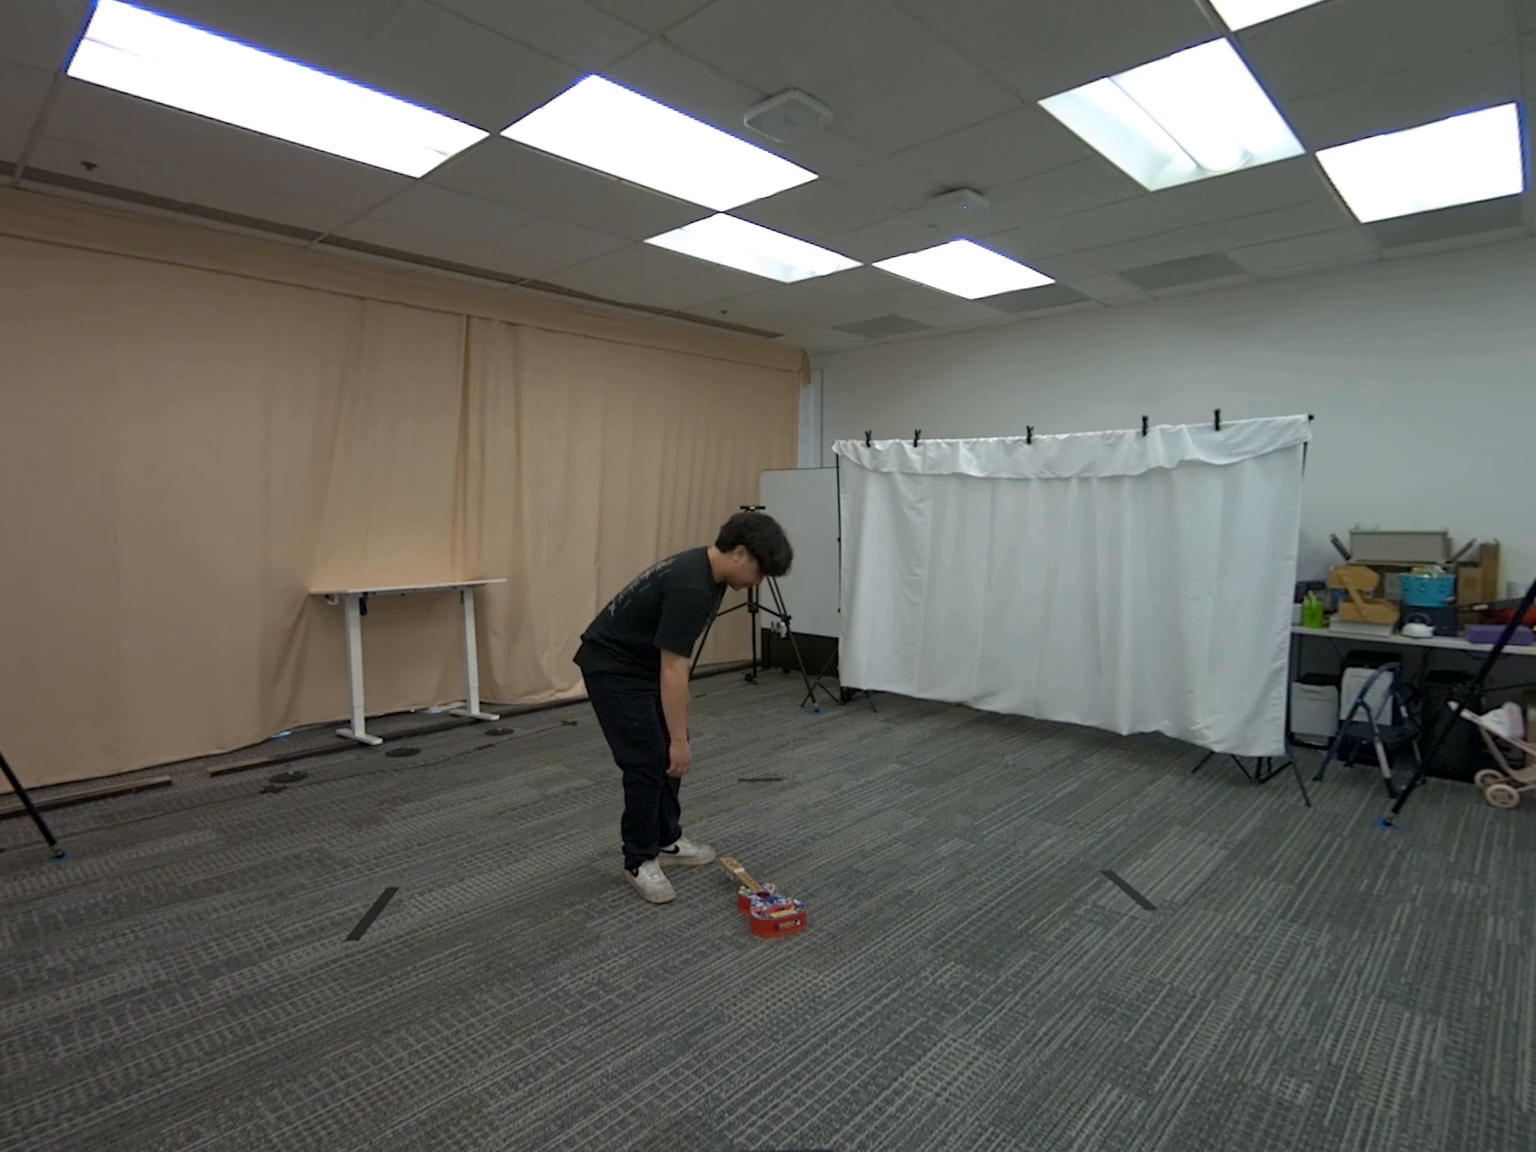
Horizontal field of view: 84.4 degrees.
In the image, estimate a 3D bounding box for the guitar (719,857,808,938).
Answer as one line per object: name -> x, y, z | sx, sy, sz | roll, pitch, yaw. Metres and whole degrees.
guitar -> -0.020, 1.110, 2.964 | 0.190, 0.070, 0.507 | -2, 6, -17
